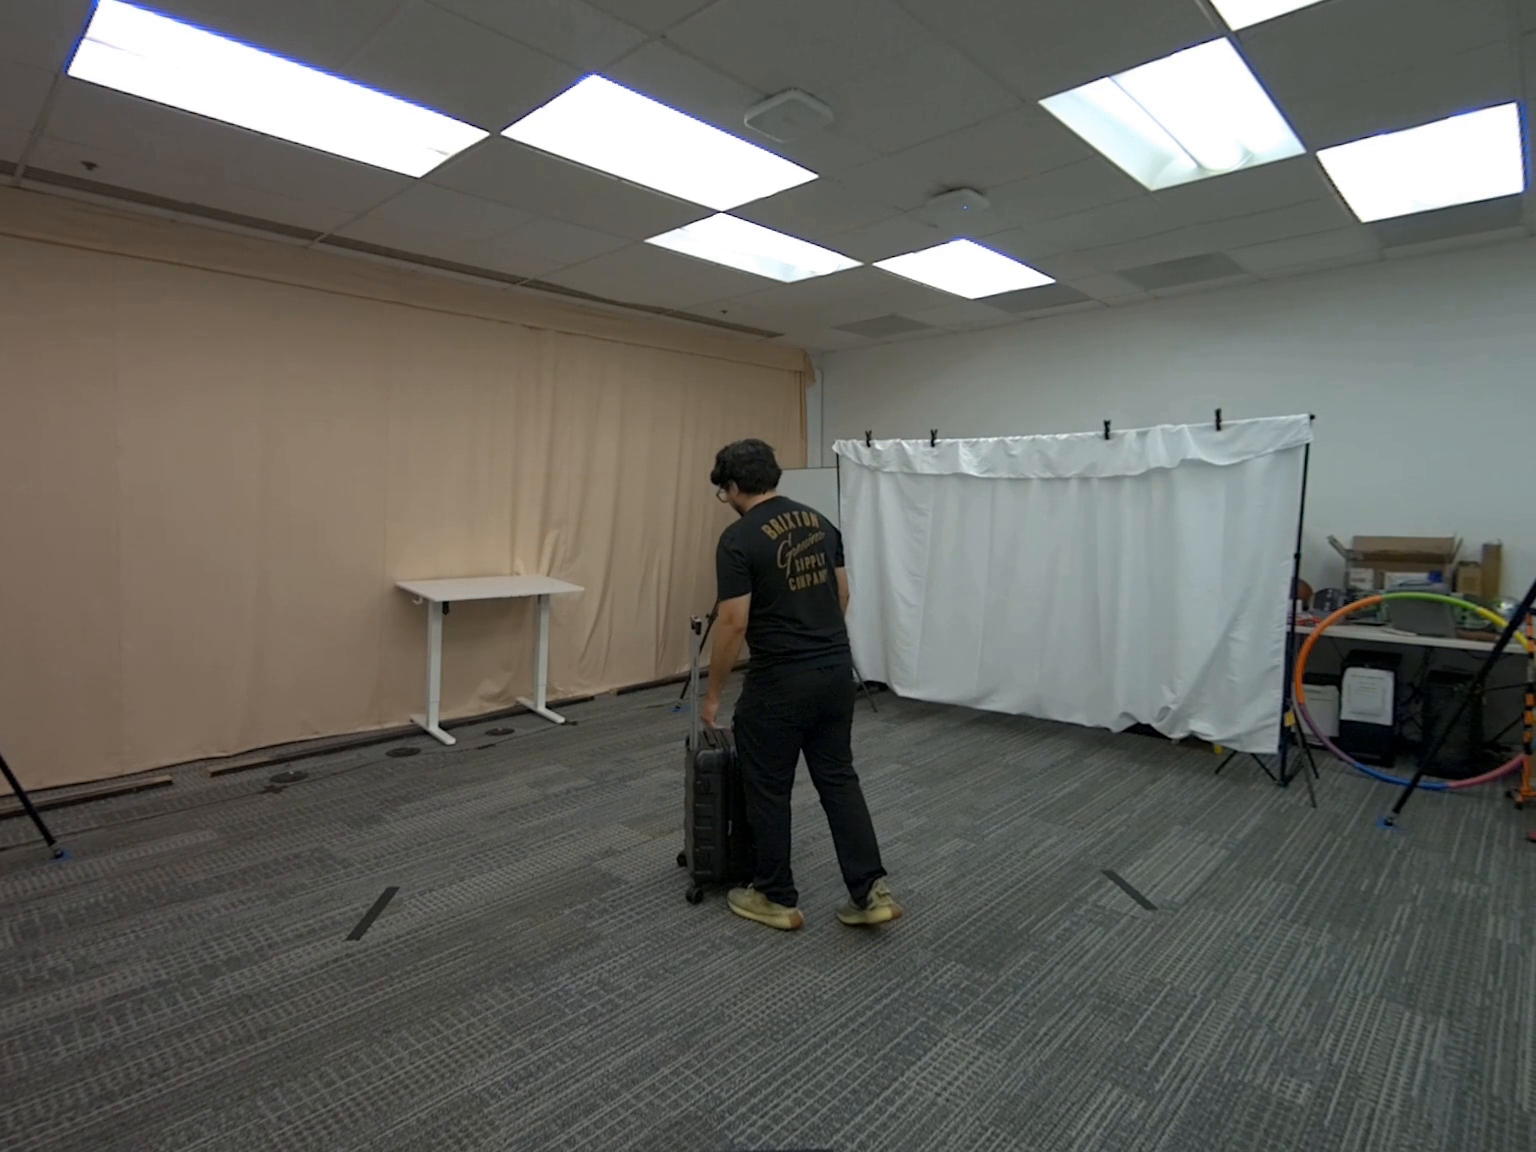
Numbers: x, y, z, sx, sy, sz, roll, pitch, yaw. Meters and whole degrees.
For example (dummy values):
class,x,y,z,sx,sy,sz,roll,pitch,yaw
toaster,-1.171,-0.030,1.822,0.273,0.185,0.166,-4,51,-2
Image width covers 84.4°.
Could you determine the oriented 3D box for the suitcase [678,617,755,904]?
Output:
class,x,y,z,sx,sy,sz,roll,pitch,yaw
suitcase,-0.167,0.654,3.114,0.255,0.977,0.388,1,2,-8
